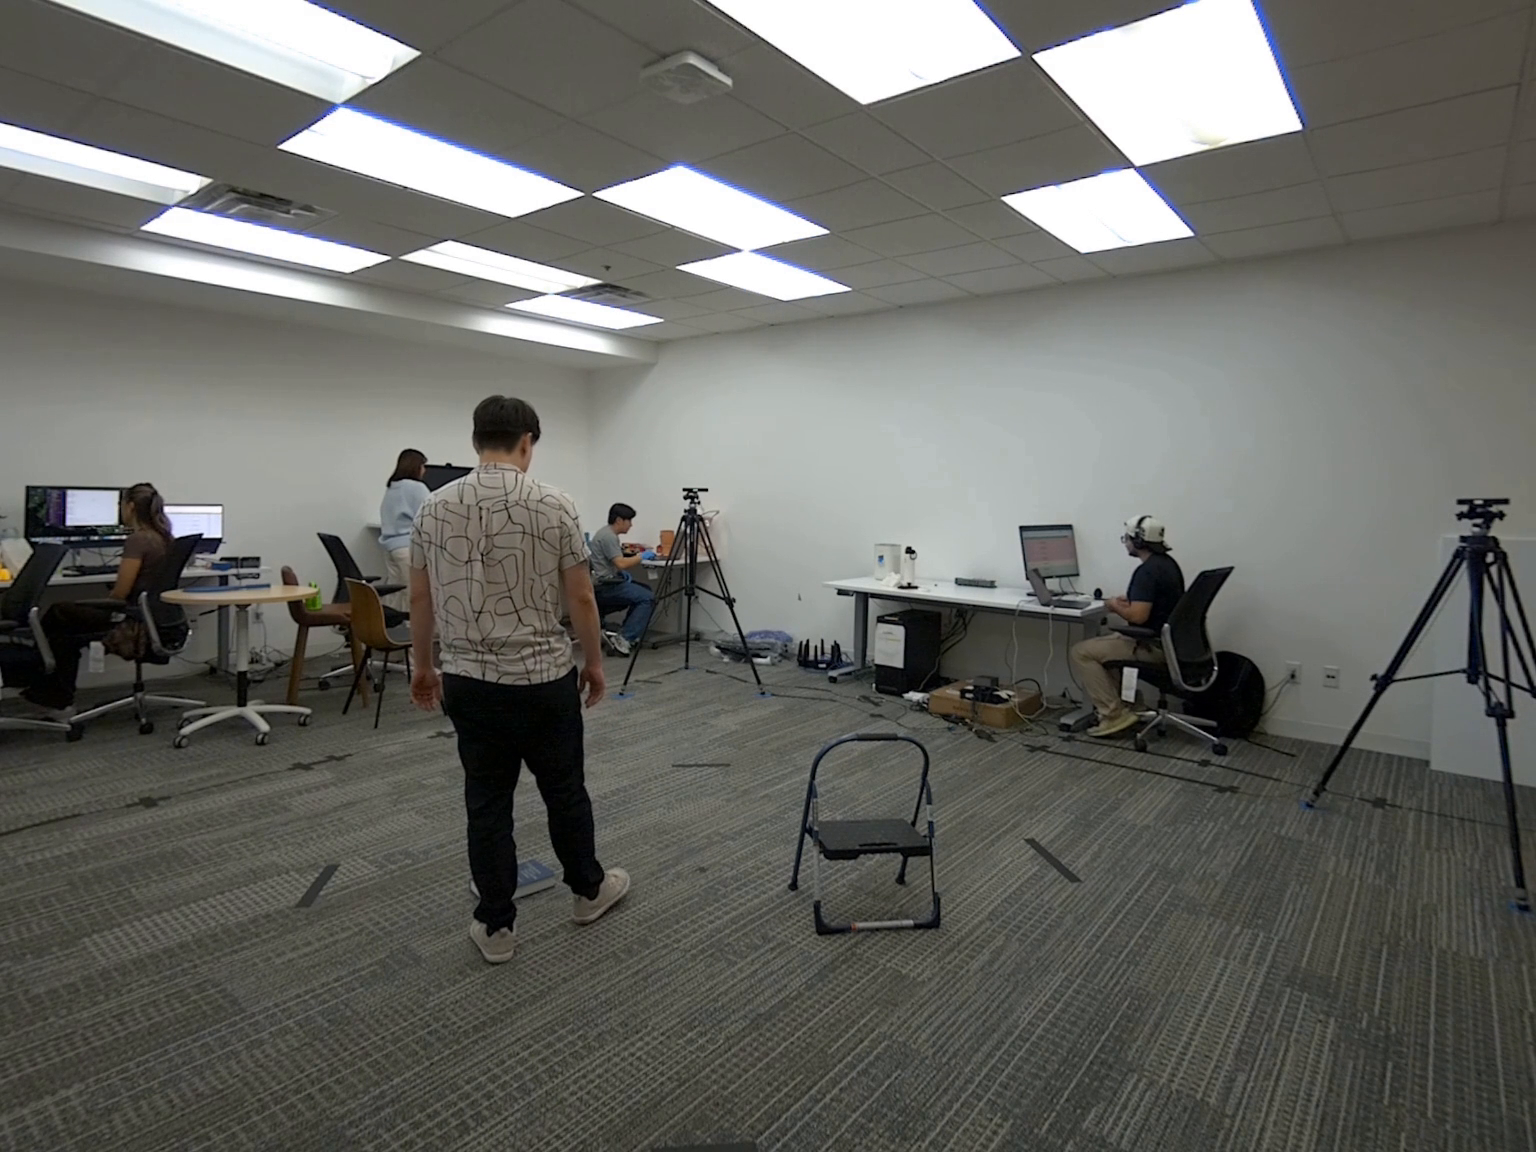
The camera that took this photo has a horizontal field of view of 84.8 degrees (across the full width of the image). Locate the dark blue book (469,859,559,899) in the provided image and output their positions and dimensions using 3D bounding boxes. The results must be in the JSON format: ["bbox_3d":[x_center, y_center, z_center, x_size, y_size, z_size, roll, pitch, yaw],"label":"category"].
[{"bbox_3d":[-0.889,1.055,2.930,0.238,0.045,0.169,-4,7,-42],"label":"dark blue book"}]
